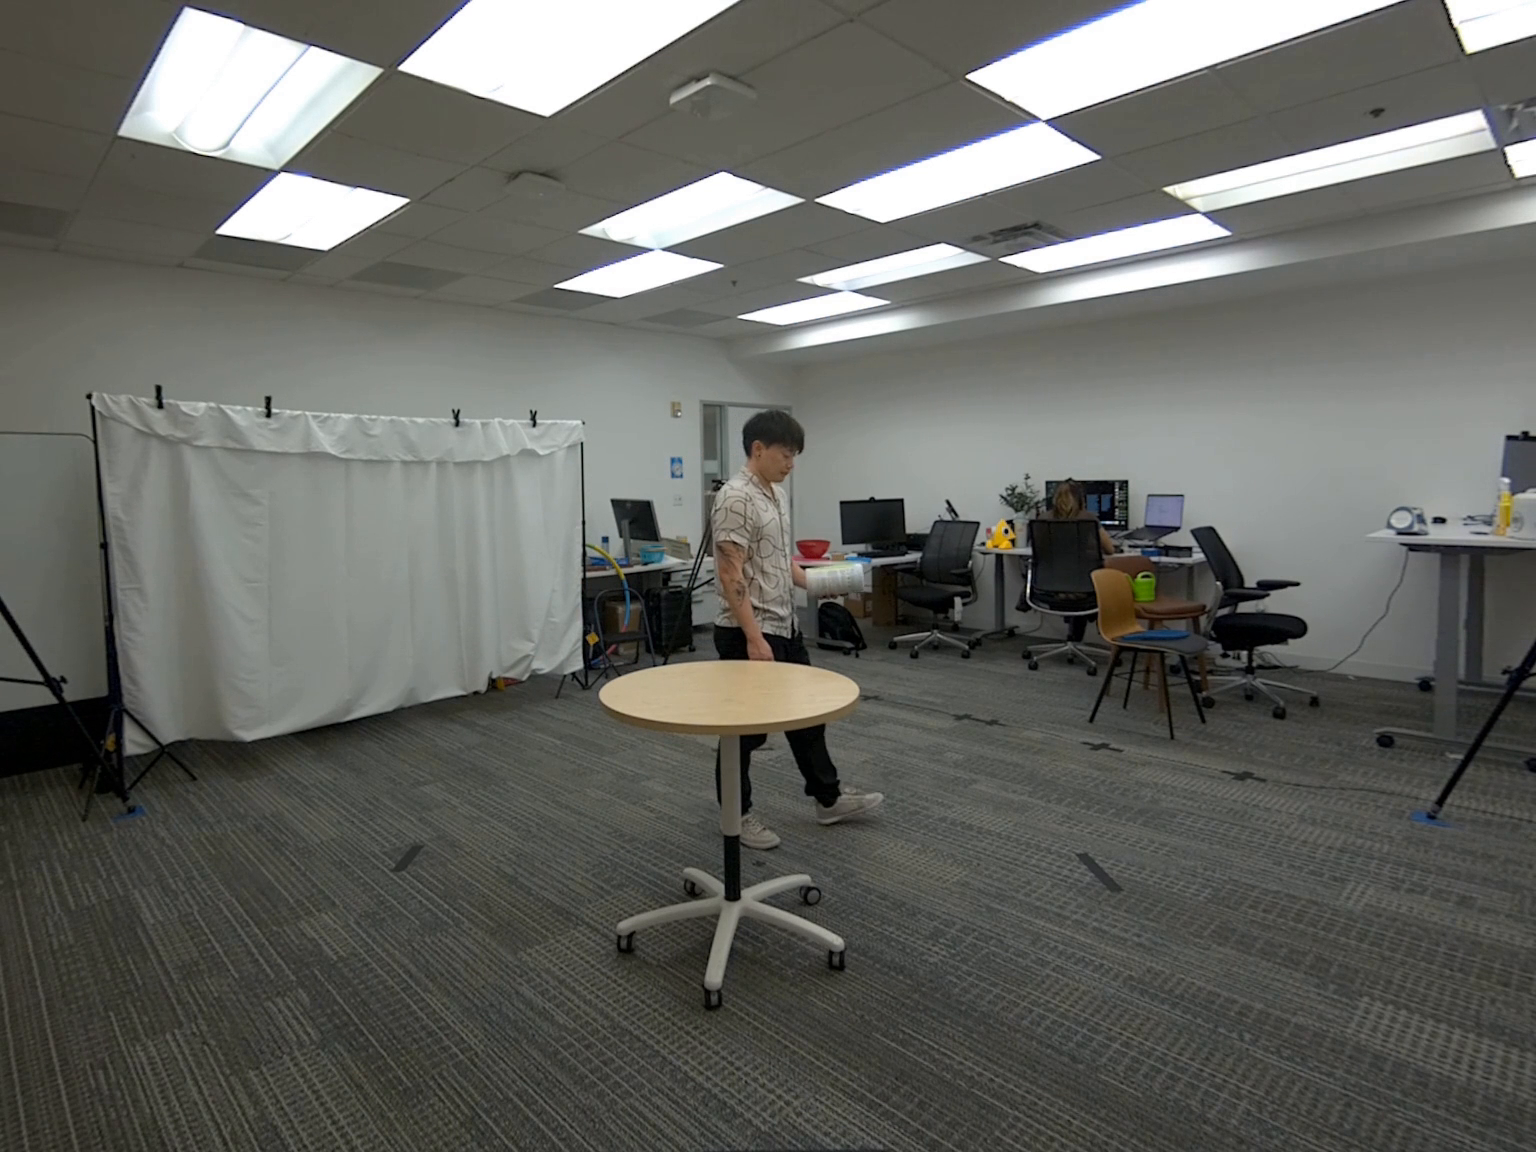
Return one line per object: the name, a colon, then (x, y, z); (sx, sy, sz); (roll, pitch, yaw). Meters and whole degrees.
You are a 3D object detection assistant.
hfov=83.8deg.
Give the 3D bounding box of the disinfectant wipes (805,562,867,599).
disinfectant wipes: (0.252, 0.016, 3.231); (0.218, 0.117, 0.118); (-6, 4, 4)
